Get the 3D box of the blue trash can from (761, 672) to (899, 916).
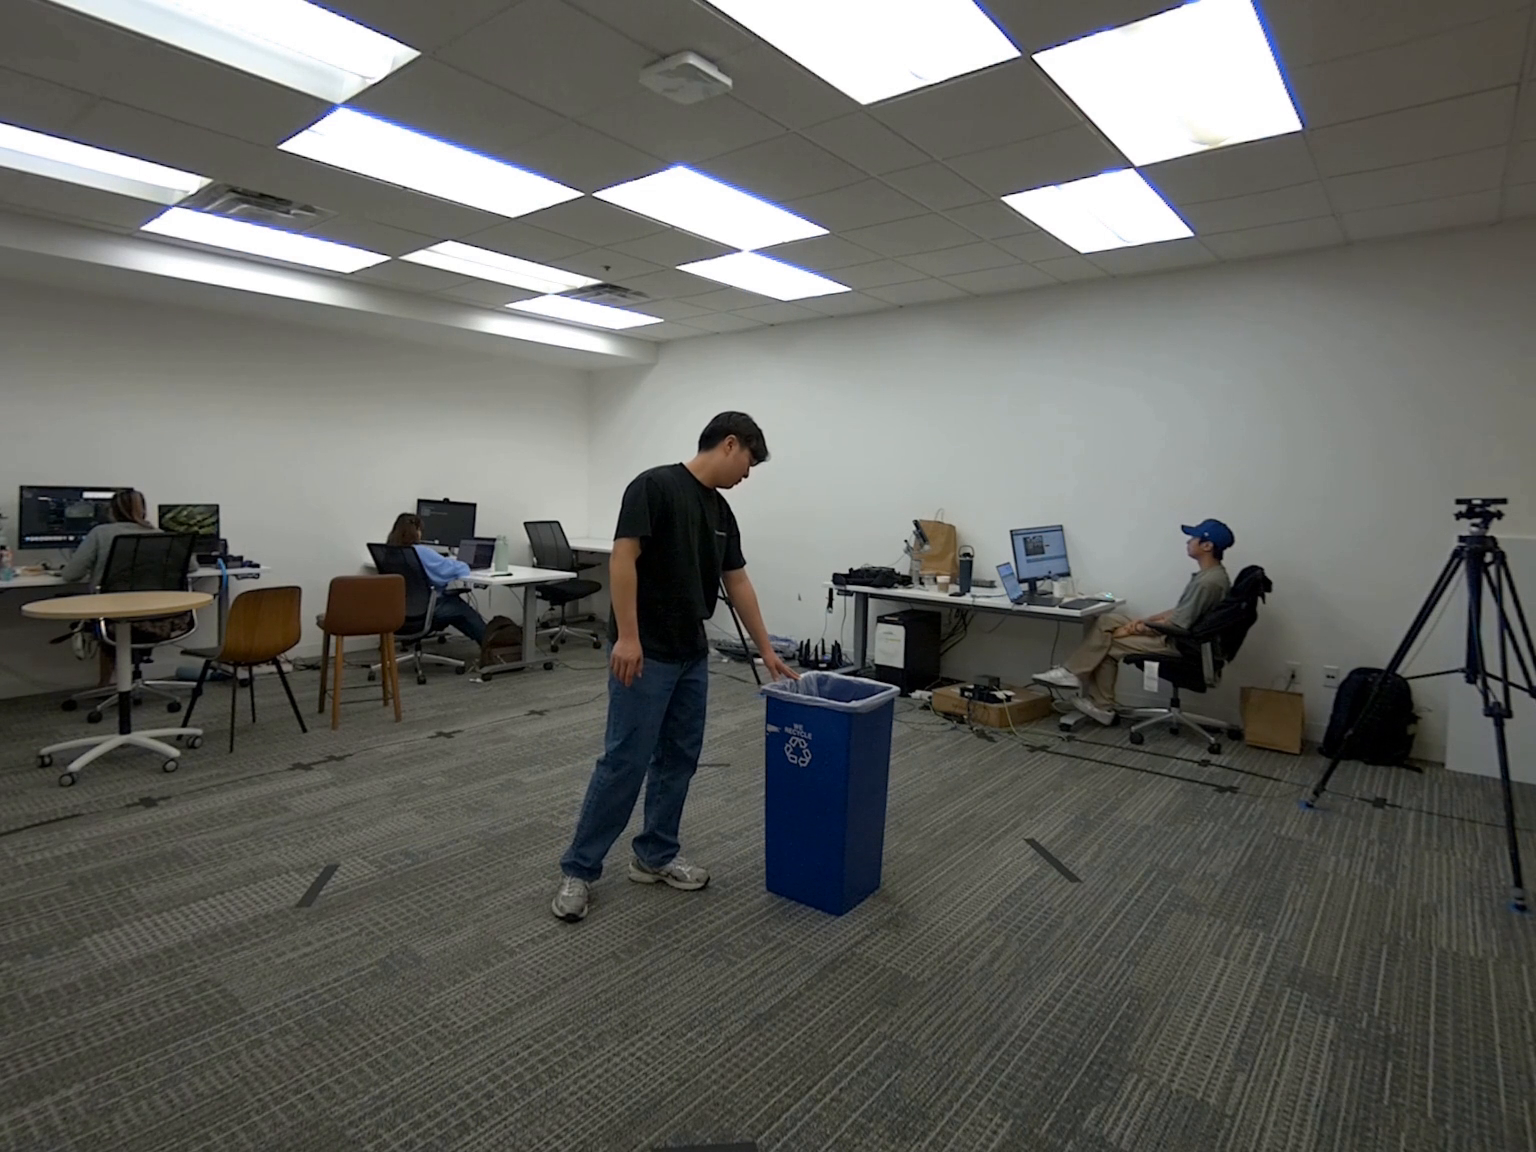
[{"bbox_3d":[0.208,0.738,2.964,0.386,0.711,0.367,3,4,34],"label":"blue trash can"}]
